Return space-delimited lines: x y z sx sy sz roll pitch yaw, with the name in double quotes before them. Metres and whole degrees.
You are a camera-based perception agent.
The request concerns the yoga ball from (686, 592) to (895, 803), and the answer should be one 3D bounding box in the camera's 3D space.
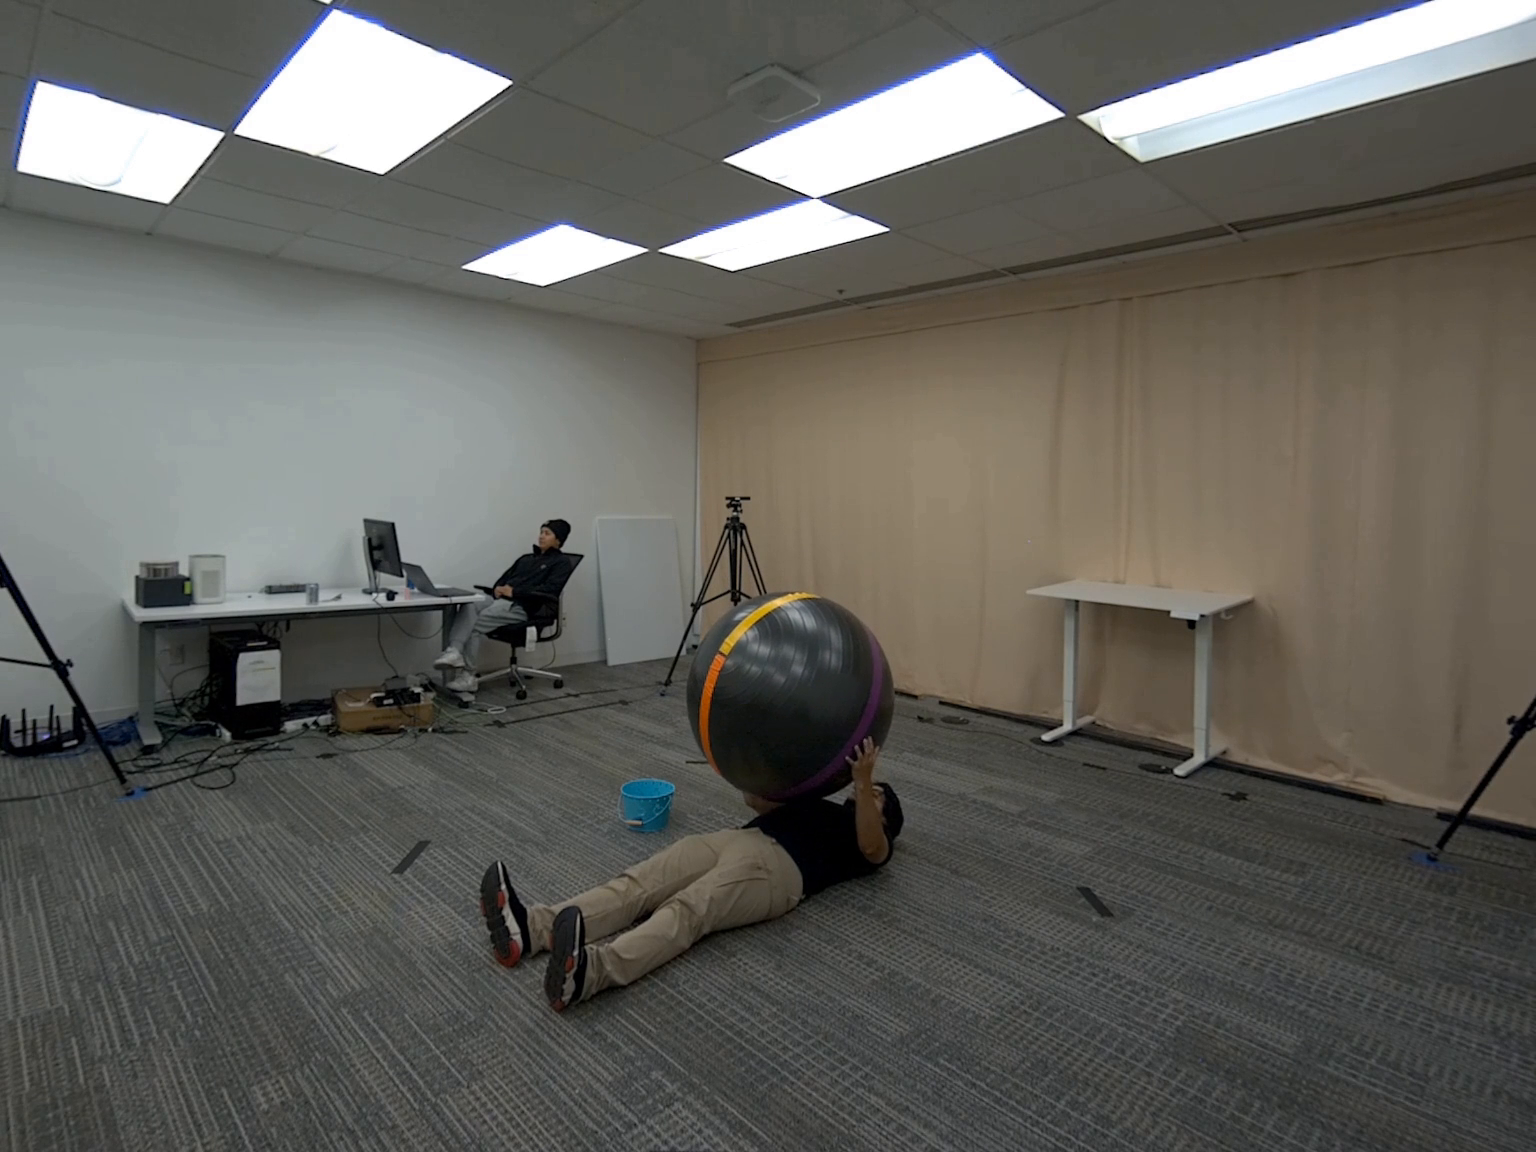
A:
"yoga ball" 0.077 0.437 3.087 0.757 0.755 0.761 1 5 -1
